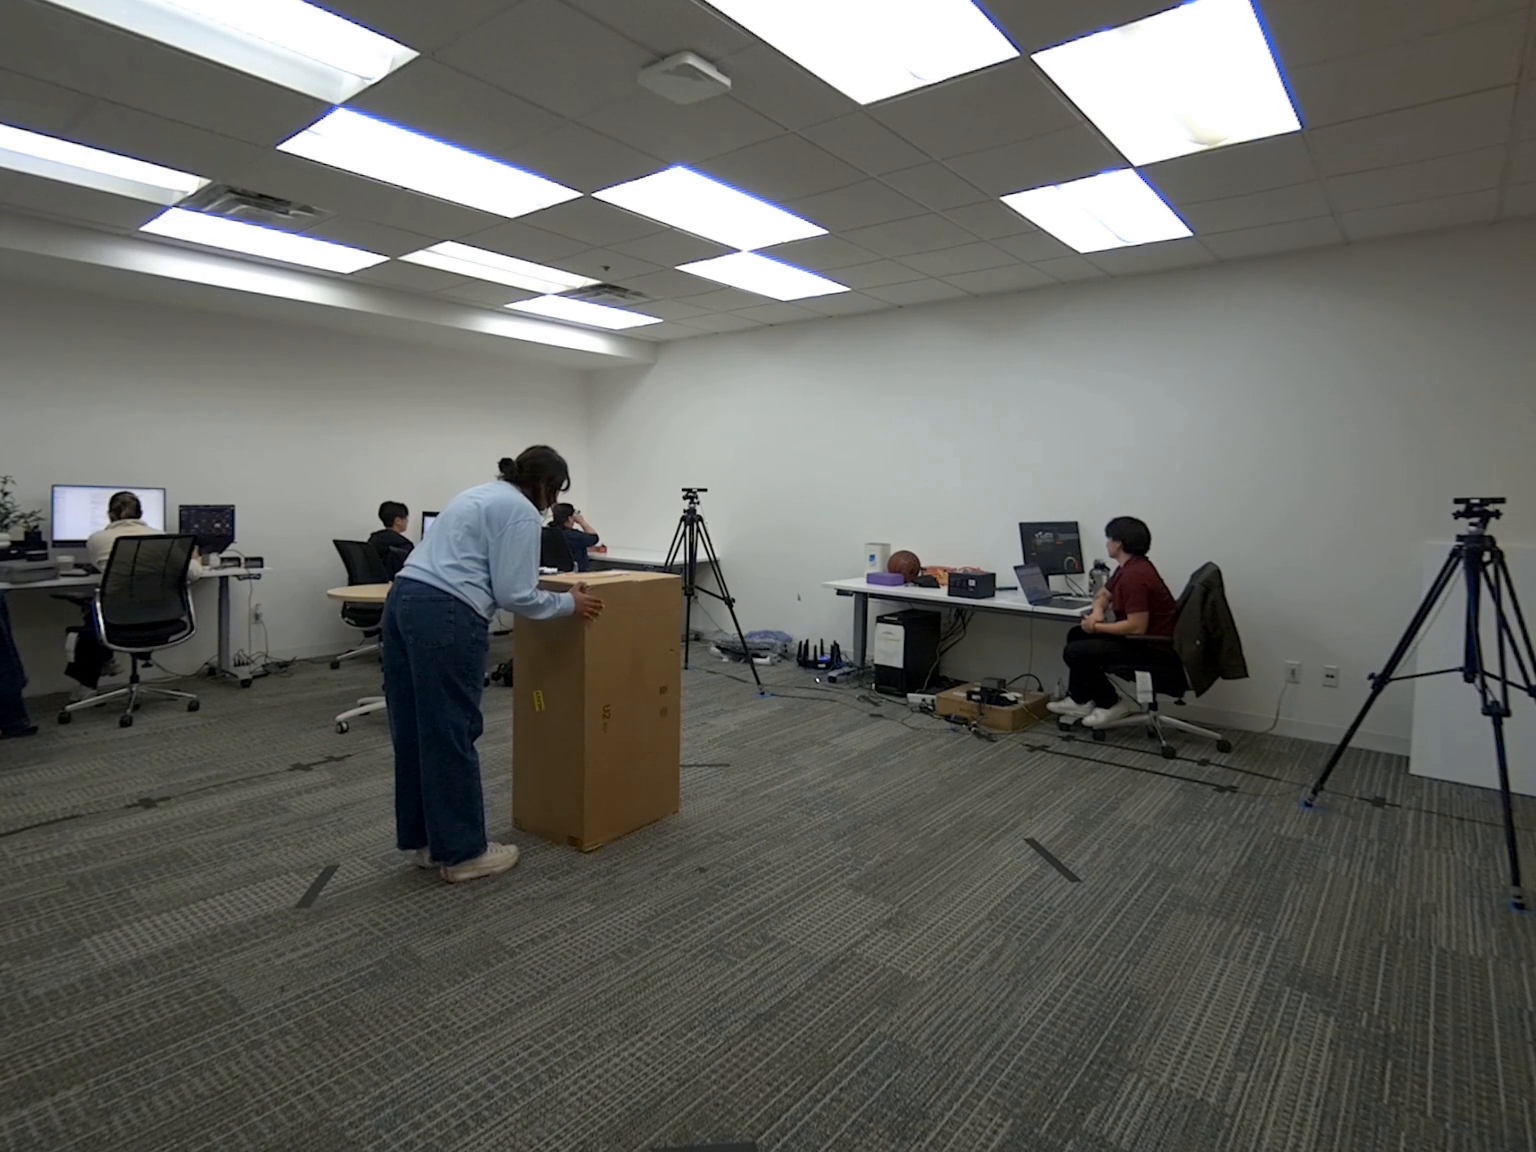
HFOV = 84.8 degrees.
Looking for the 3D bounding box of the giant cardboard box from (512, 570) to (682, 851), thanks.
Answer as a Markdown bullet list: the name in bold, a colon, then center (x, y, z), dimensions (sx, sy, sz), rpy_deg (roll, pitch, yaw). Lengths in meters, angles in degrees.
- **giant cardboard box**: center (-0.719, 0.512, 3.563), dimensions (0.440, 1.023, 0.561), rpy_deg (3, 4, 35)
